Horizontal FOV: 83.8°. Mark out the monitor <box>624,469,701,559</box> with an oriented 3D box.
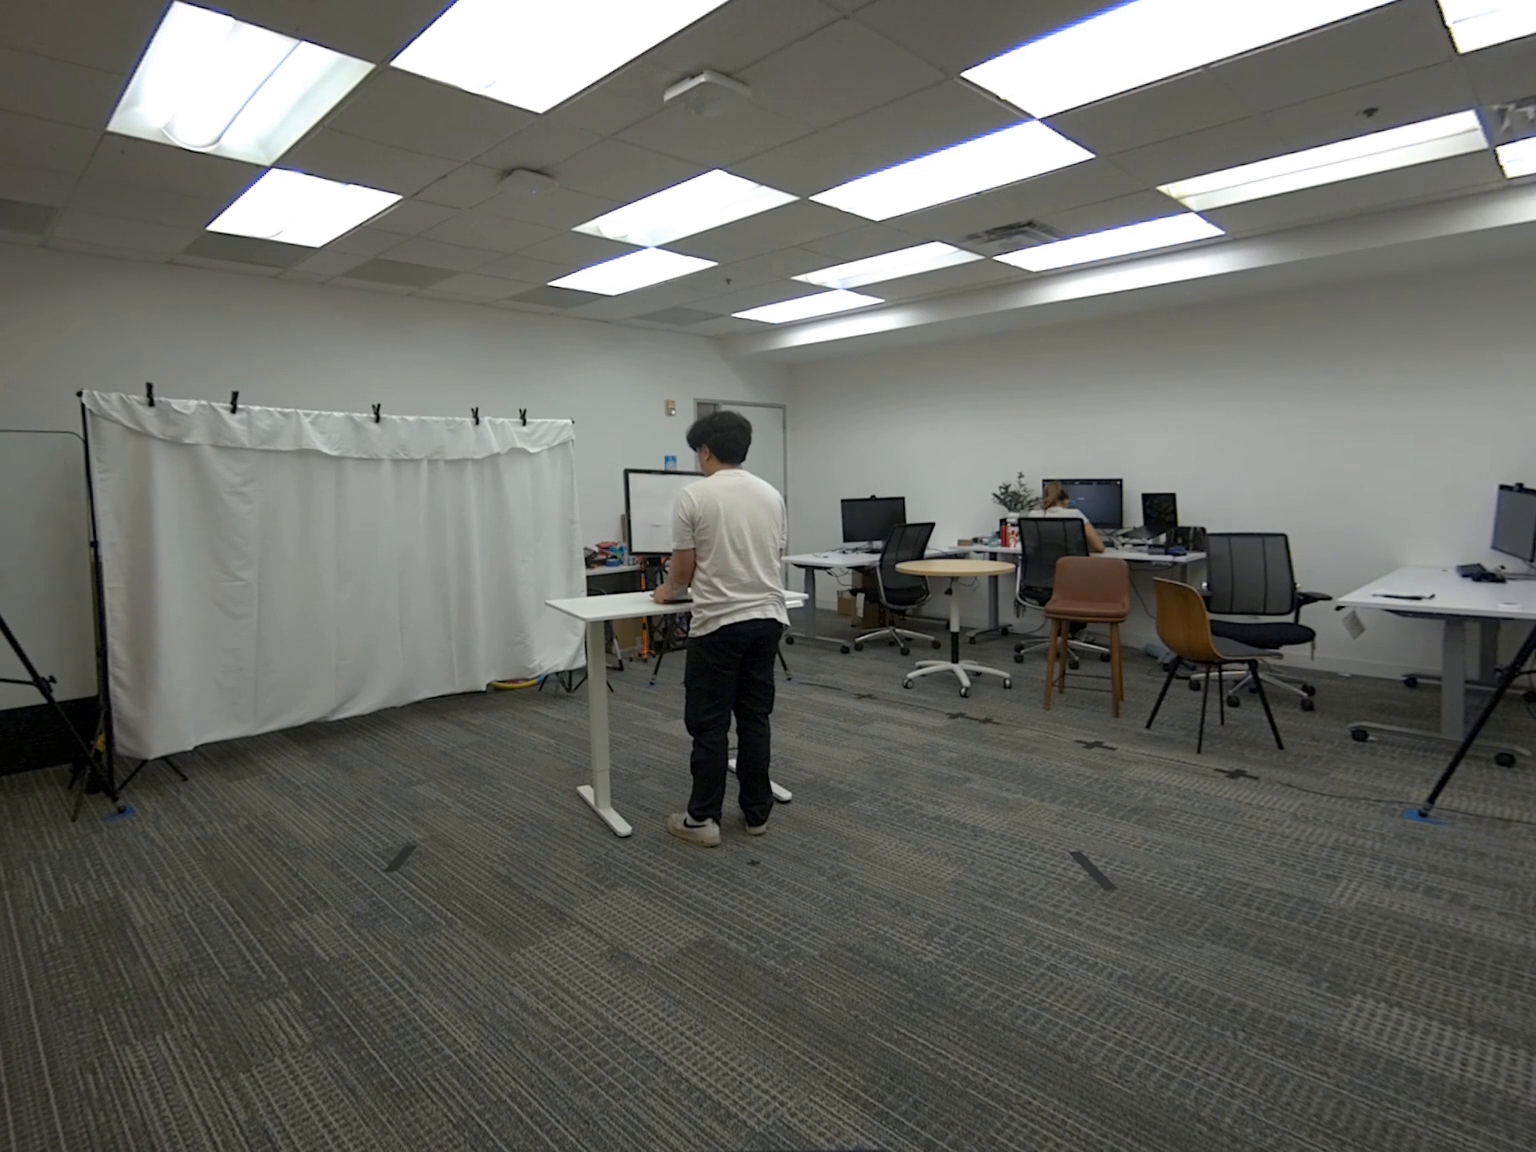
[{"bbox_3d":[-0.364,-0.173,3.662,0.552,0.555,0.215,-1,-2,-28],"label":"monitor"}]
